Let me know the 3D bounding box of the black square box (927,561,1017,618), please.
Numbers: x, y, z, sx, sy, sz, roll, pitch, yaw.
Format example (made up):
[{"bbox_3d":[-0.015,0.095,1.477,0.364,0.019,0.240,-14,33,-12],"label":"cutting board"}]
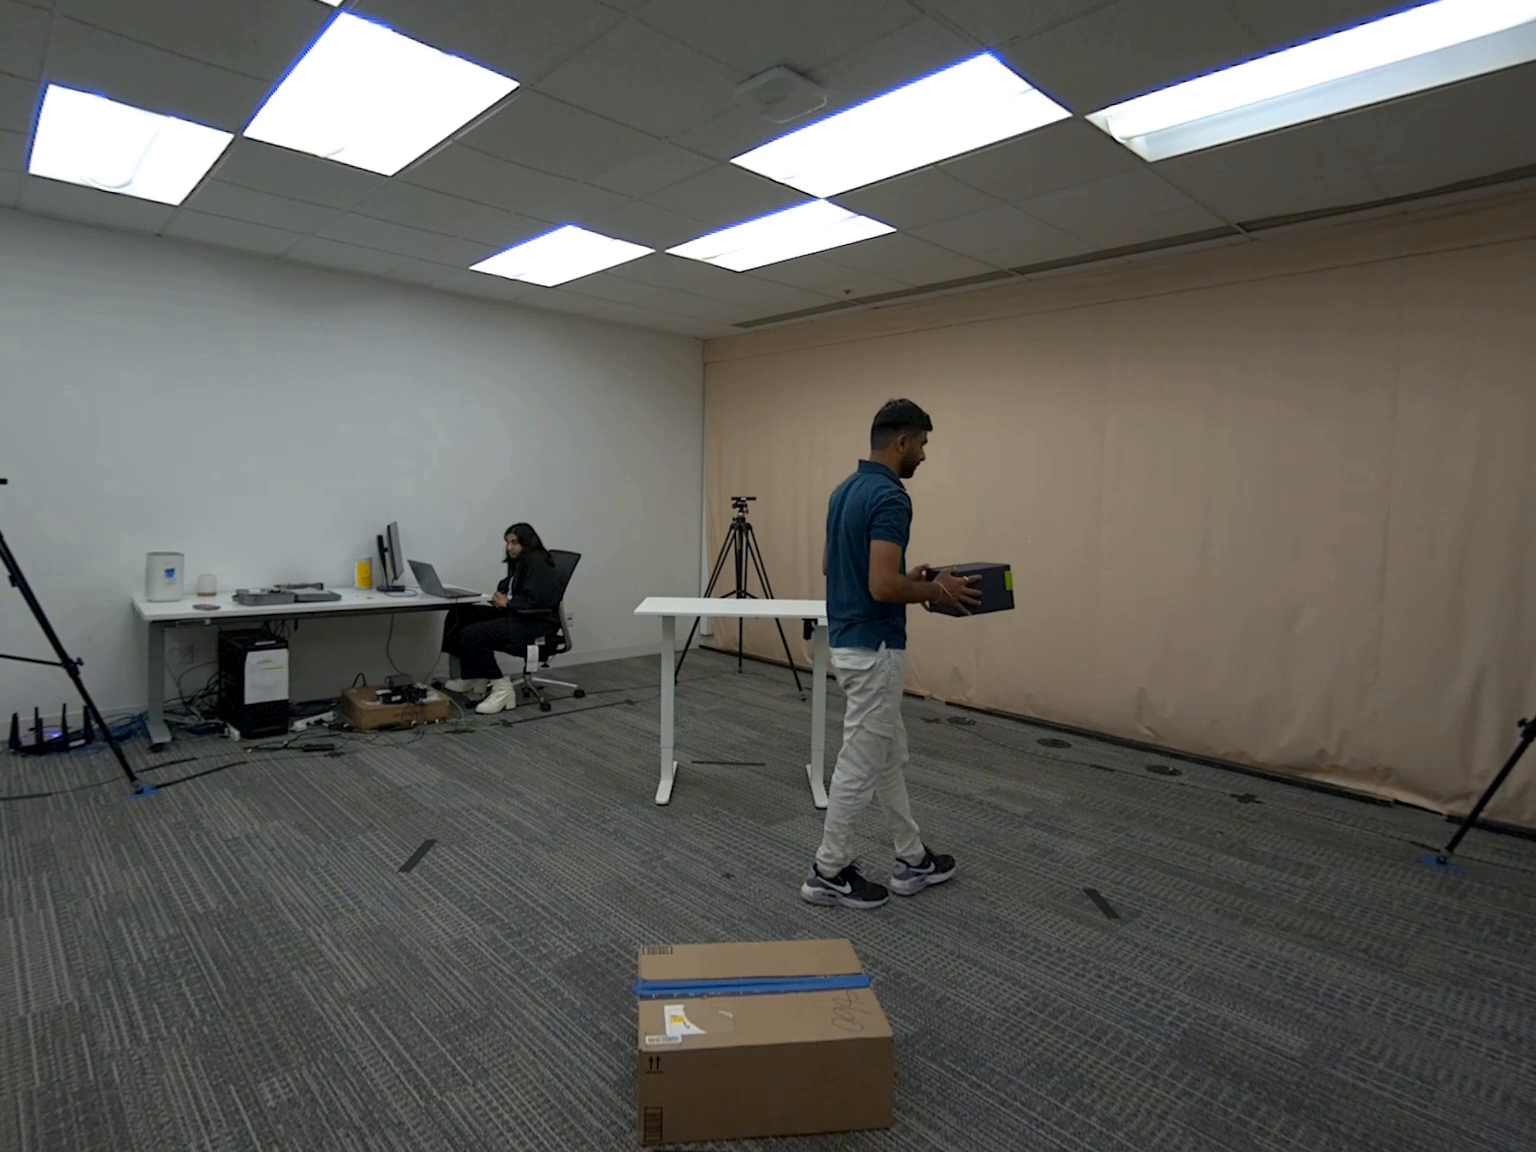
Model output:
[{"bbox_3d":[0.705,0.042,2.966,0.215,0.155,0.230,-6,4,-10],"label":"black square box"}]
